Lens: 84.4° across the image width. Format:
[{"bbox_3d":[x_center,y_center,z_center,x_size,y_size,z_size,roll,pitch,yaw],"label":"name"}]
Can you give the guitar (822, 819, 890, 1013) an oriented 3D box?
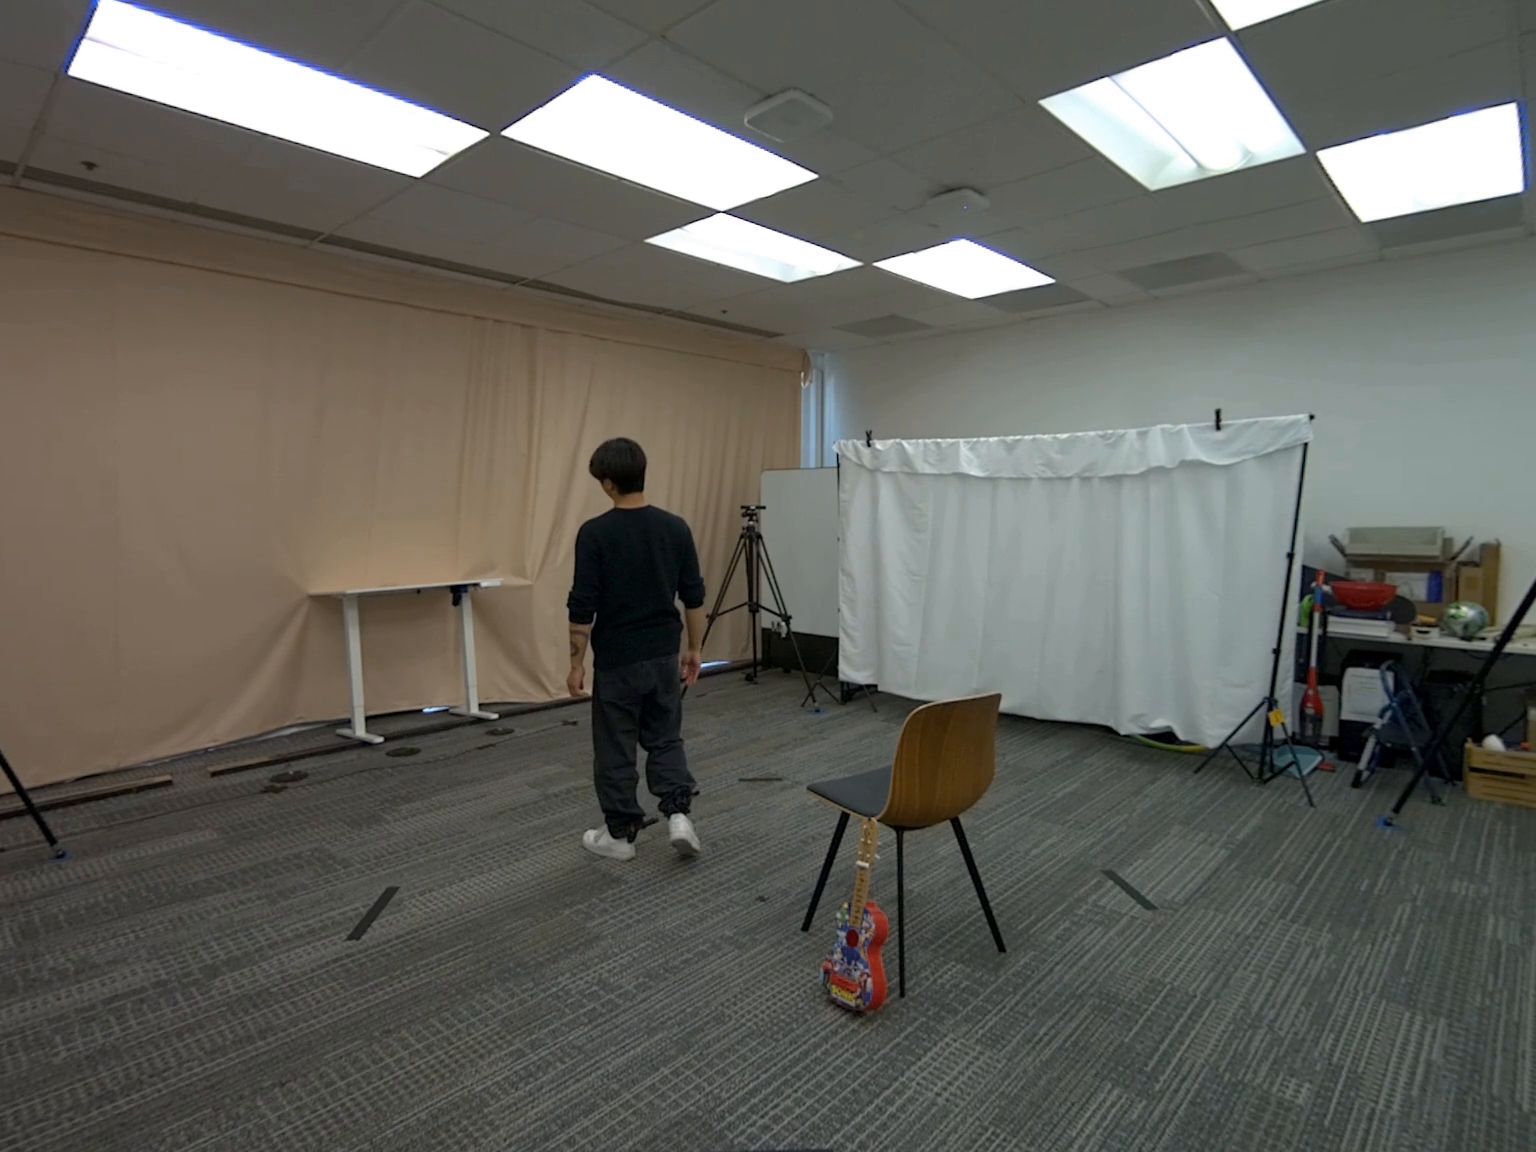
[{"bbox_3d":[0.288,0.951,2.358,0.068,0.499,0.199,21,-8,-37],"label":"guitar"}]
